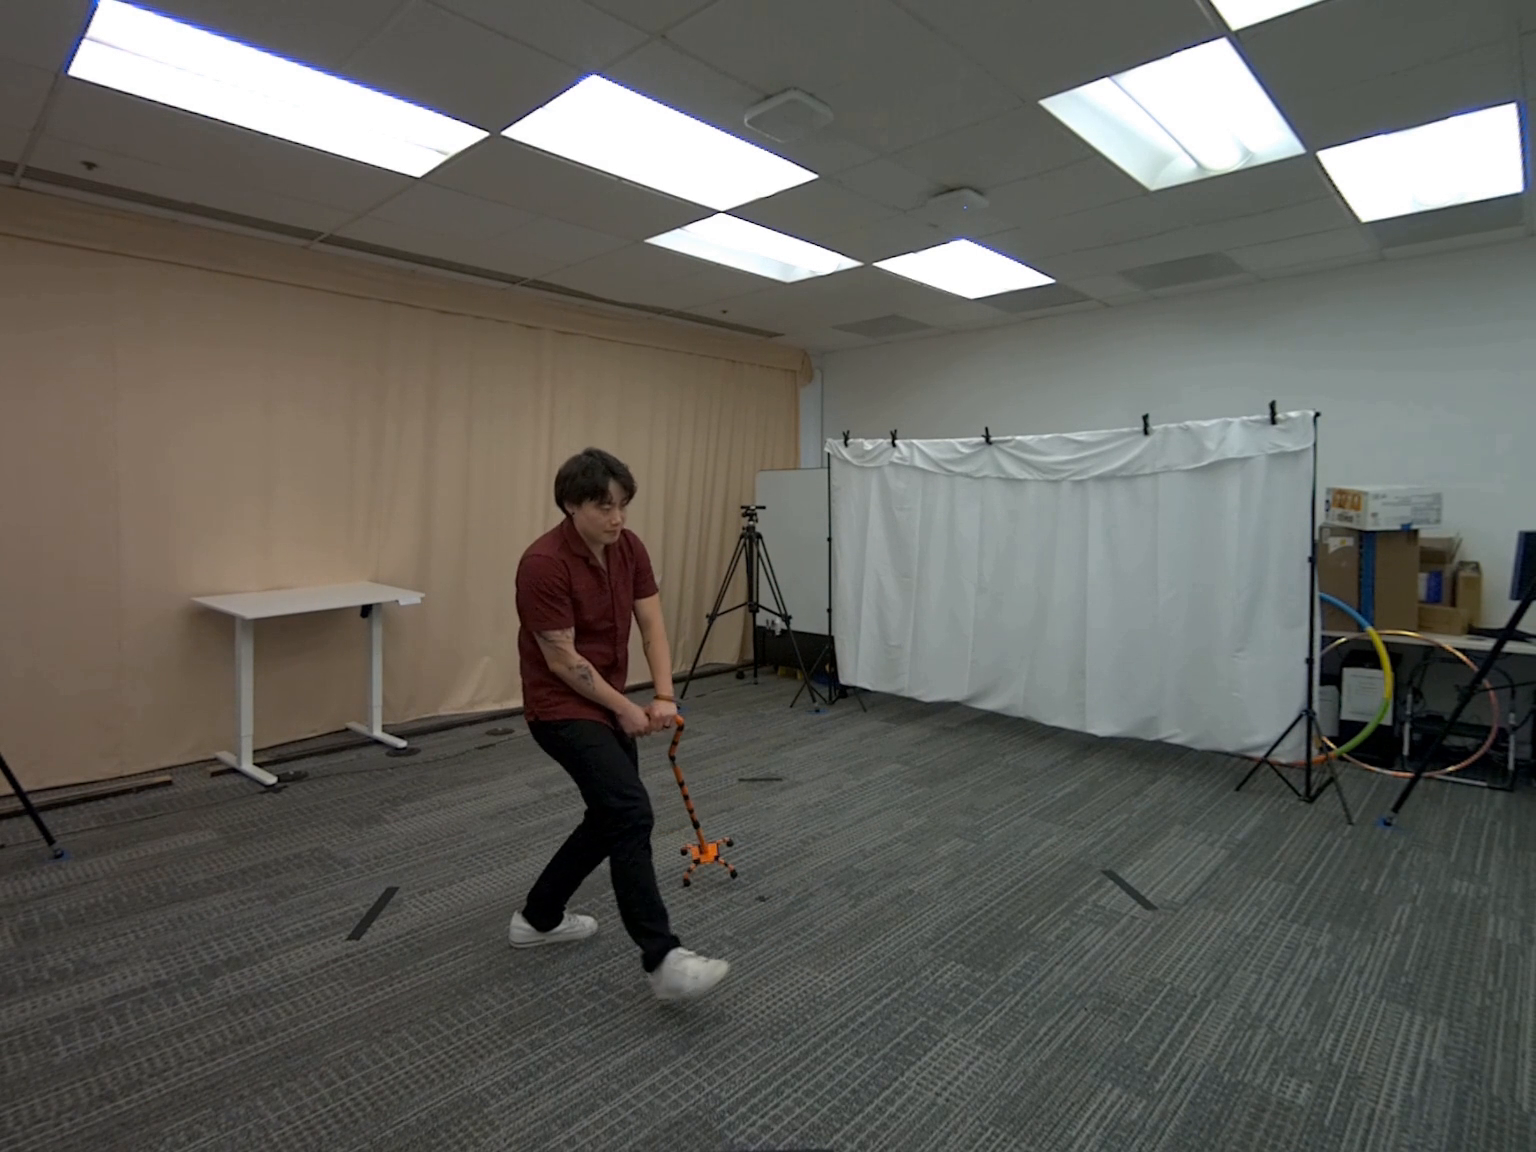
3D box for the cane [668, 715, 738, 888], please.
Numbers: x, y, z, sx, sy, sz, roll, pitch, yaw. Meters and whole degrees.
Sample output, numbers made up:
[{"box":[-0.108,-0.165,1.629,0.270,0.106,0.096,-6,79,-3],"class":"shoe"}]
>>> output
[{"box":[-0.273,0.762,2.841,0.207,0.886,0.155,-9,43,0],"class":"cane"}]
